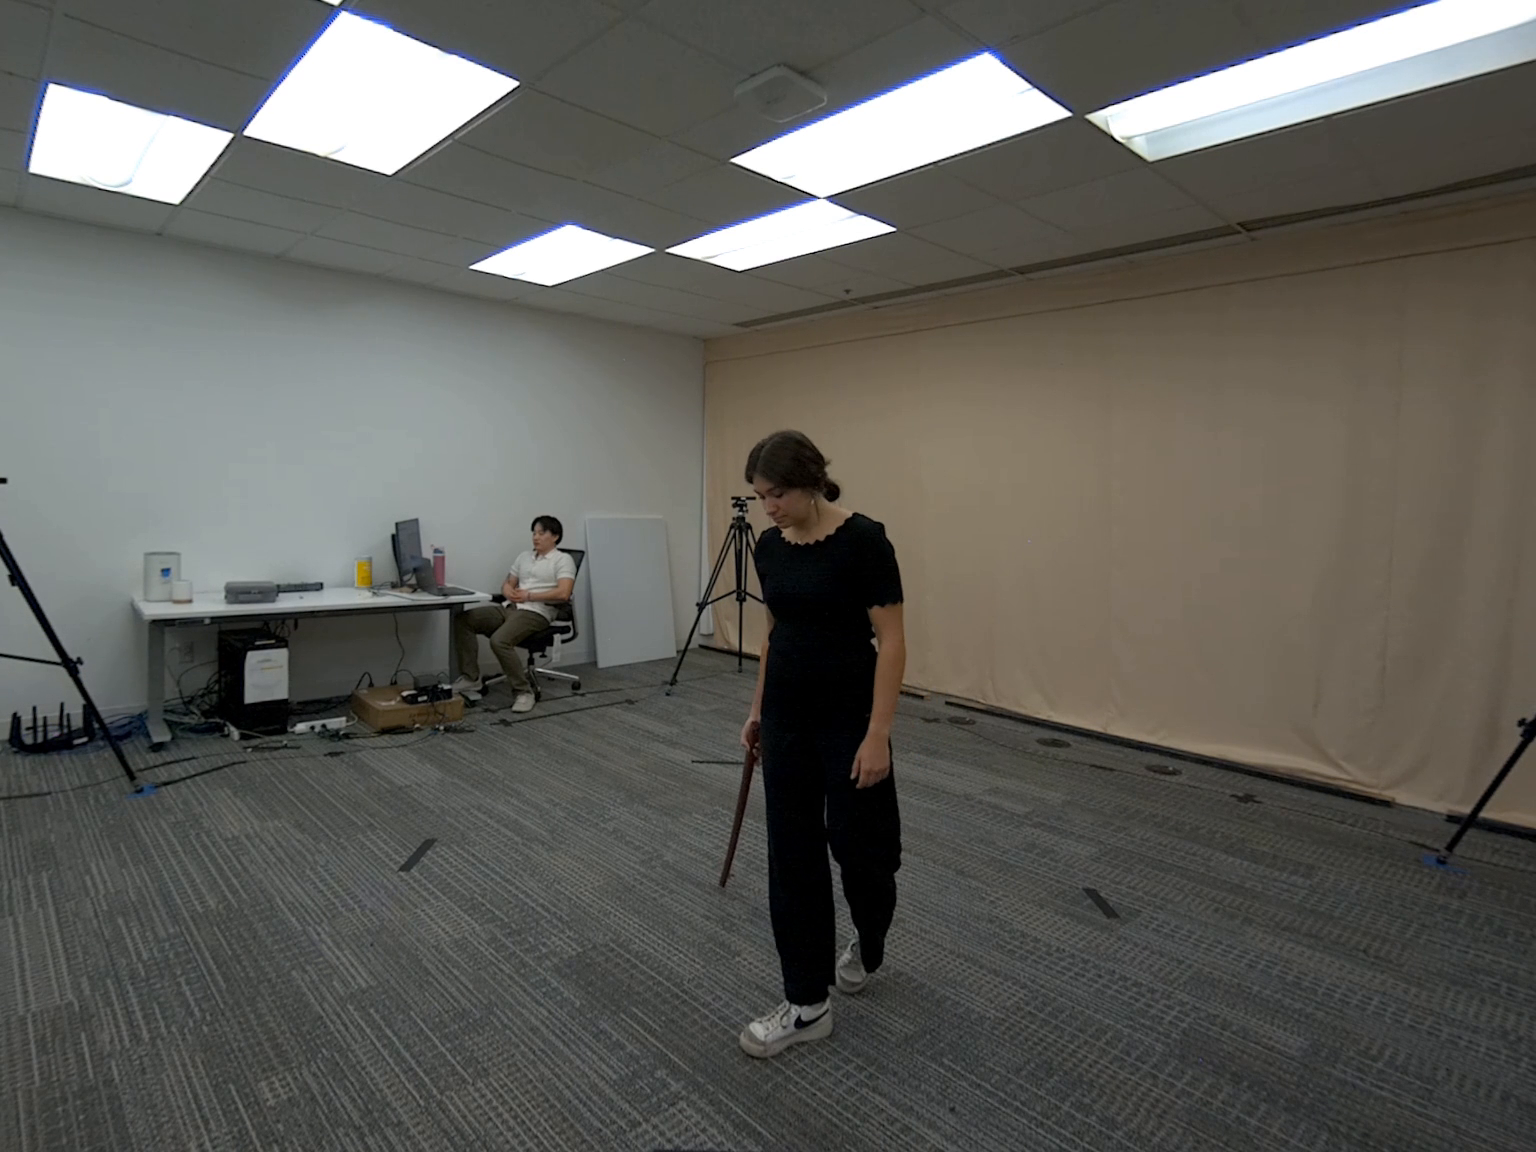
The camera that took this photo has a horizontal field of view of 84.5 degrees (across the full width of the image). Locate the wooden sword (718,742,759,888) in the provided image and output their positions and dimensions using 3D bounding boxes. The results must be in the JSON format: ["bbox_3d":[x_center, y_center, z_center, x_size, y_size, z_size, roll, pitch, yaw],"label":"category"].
[{"bbox_3d":[-0.102,0.776,2.674,0.024,1.007,0.053,-14,51,-23],"label":"wooden sword"}]
